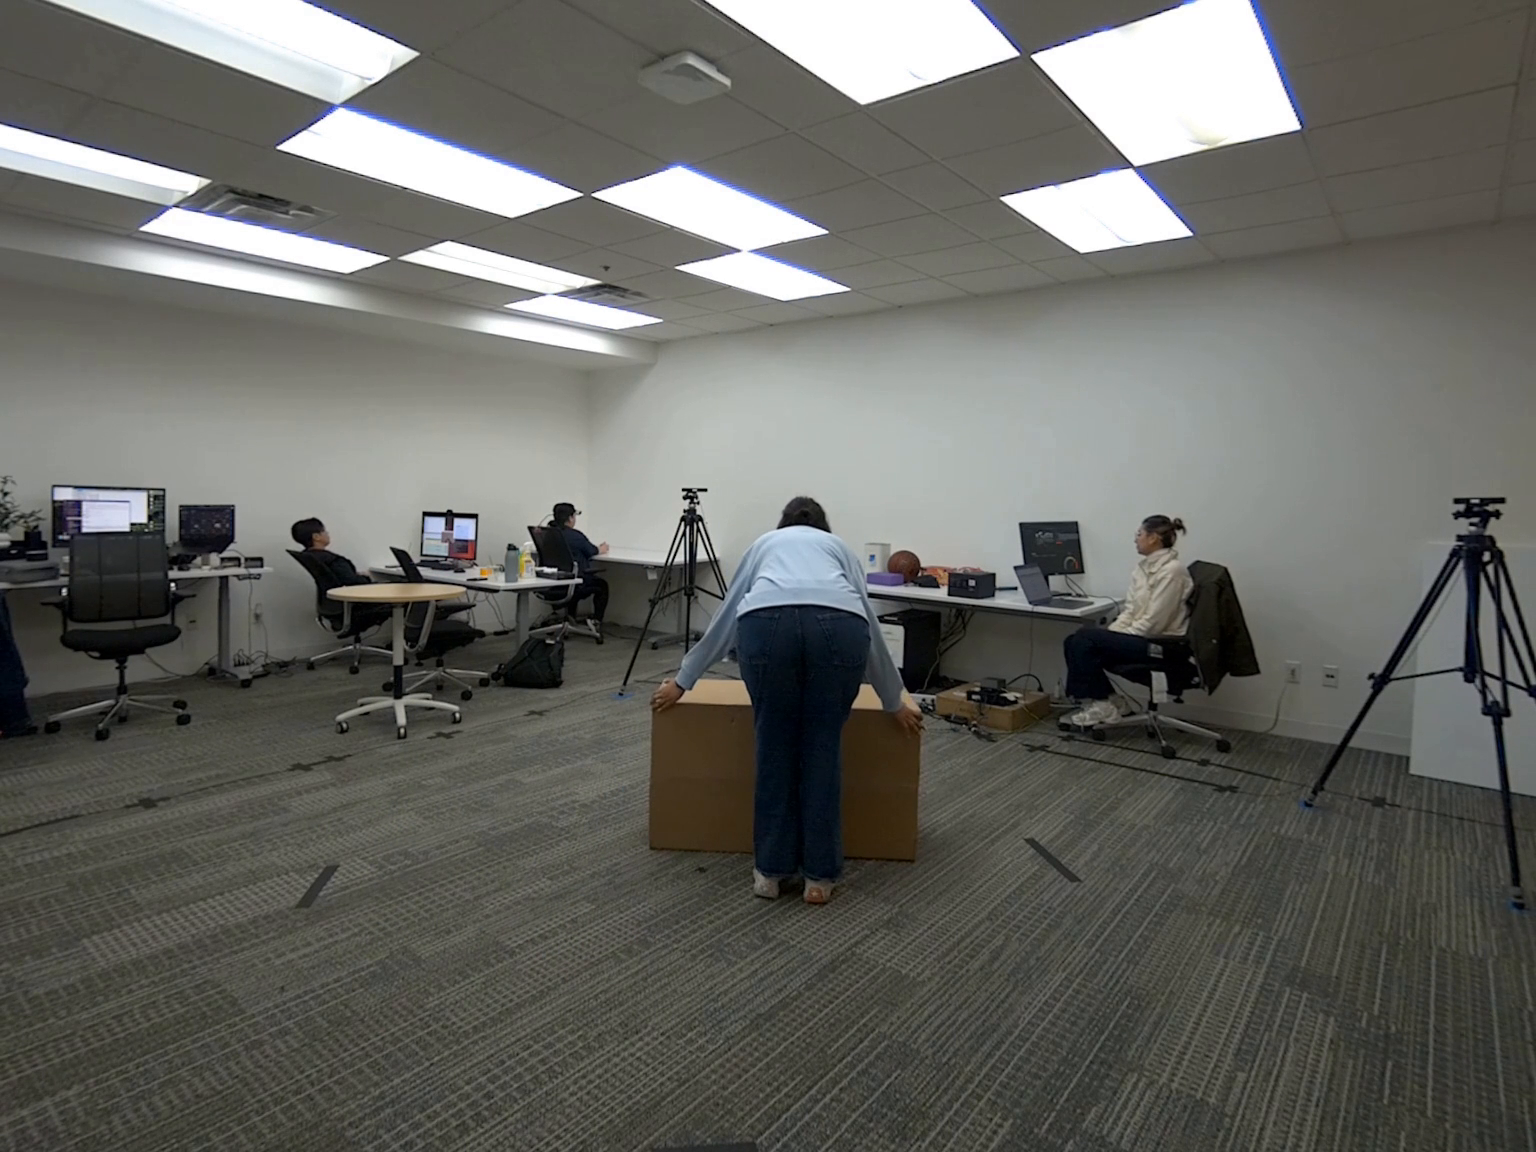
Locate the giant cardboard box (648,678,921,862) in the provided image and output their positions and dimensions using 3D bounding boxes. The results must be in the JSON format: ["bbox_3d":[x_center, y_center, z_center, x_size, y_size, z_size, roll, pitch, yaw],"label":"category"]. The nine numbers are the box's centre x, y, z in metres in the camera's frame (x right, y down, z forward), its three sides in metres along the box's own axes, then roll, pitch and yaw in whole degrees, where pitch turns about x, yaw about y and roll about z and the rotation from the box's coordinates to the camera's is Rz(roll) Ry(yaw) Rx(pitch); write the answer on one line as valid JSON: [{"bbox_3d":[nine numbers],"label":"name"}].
[{"bbox_3d":[0.051,0.749,3.440,1.030,0.576,0.425,1,3,3],"label":"giant cardboard box"}]
